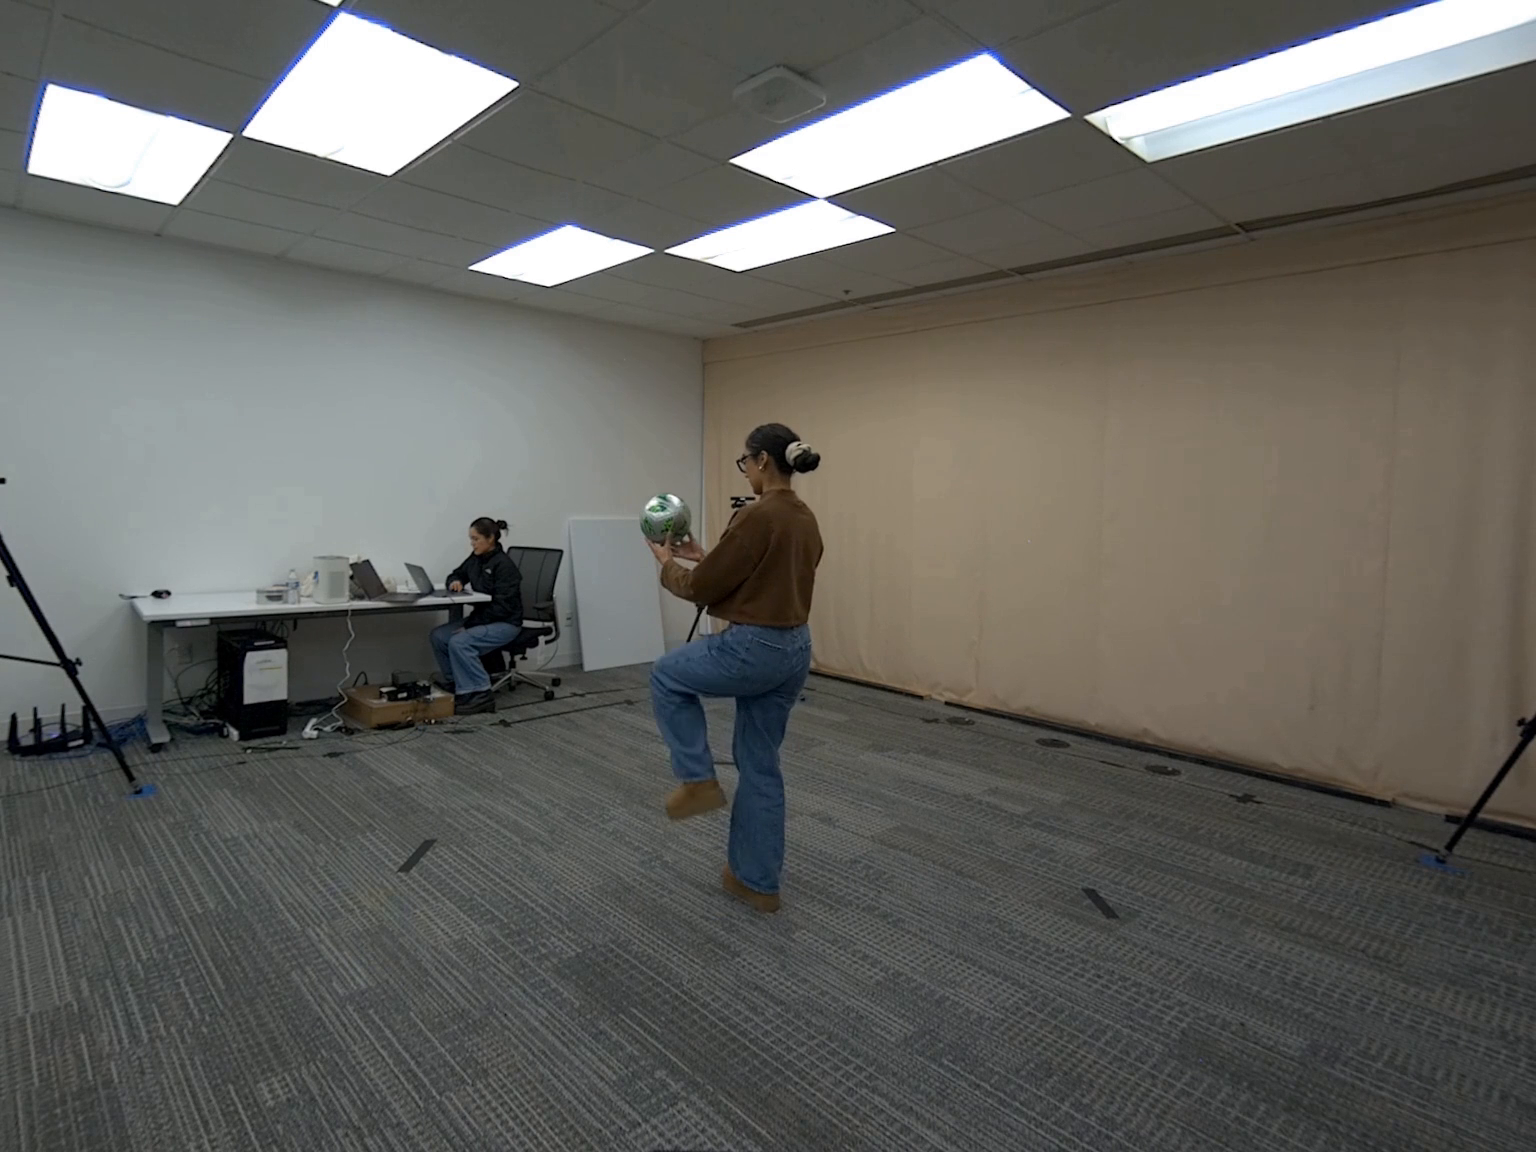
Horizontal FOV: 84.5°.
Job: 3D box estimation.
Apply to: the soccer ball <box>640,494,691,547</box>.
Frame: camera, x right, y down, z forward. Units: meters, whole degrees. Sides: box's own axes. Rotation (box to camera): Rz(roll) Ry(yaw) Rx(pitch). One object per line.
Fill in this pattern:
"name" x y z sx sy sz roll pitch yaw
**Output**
"soccer ball" -0.373 -0.201 3.053 0.187 0.187 0.188 1 4 -1
